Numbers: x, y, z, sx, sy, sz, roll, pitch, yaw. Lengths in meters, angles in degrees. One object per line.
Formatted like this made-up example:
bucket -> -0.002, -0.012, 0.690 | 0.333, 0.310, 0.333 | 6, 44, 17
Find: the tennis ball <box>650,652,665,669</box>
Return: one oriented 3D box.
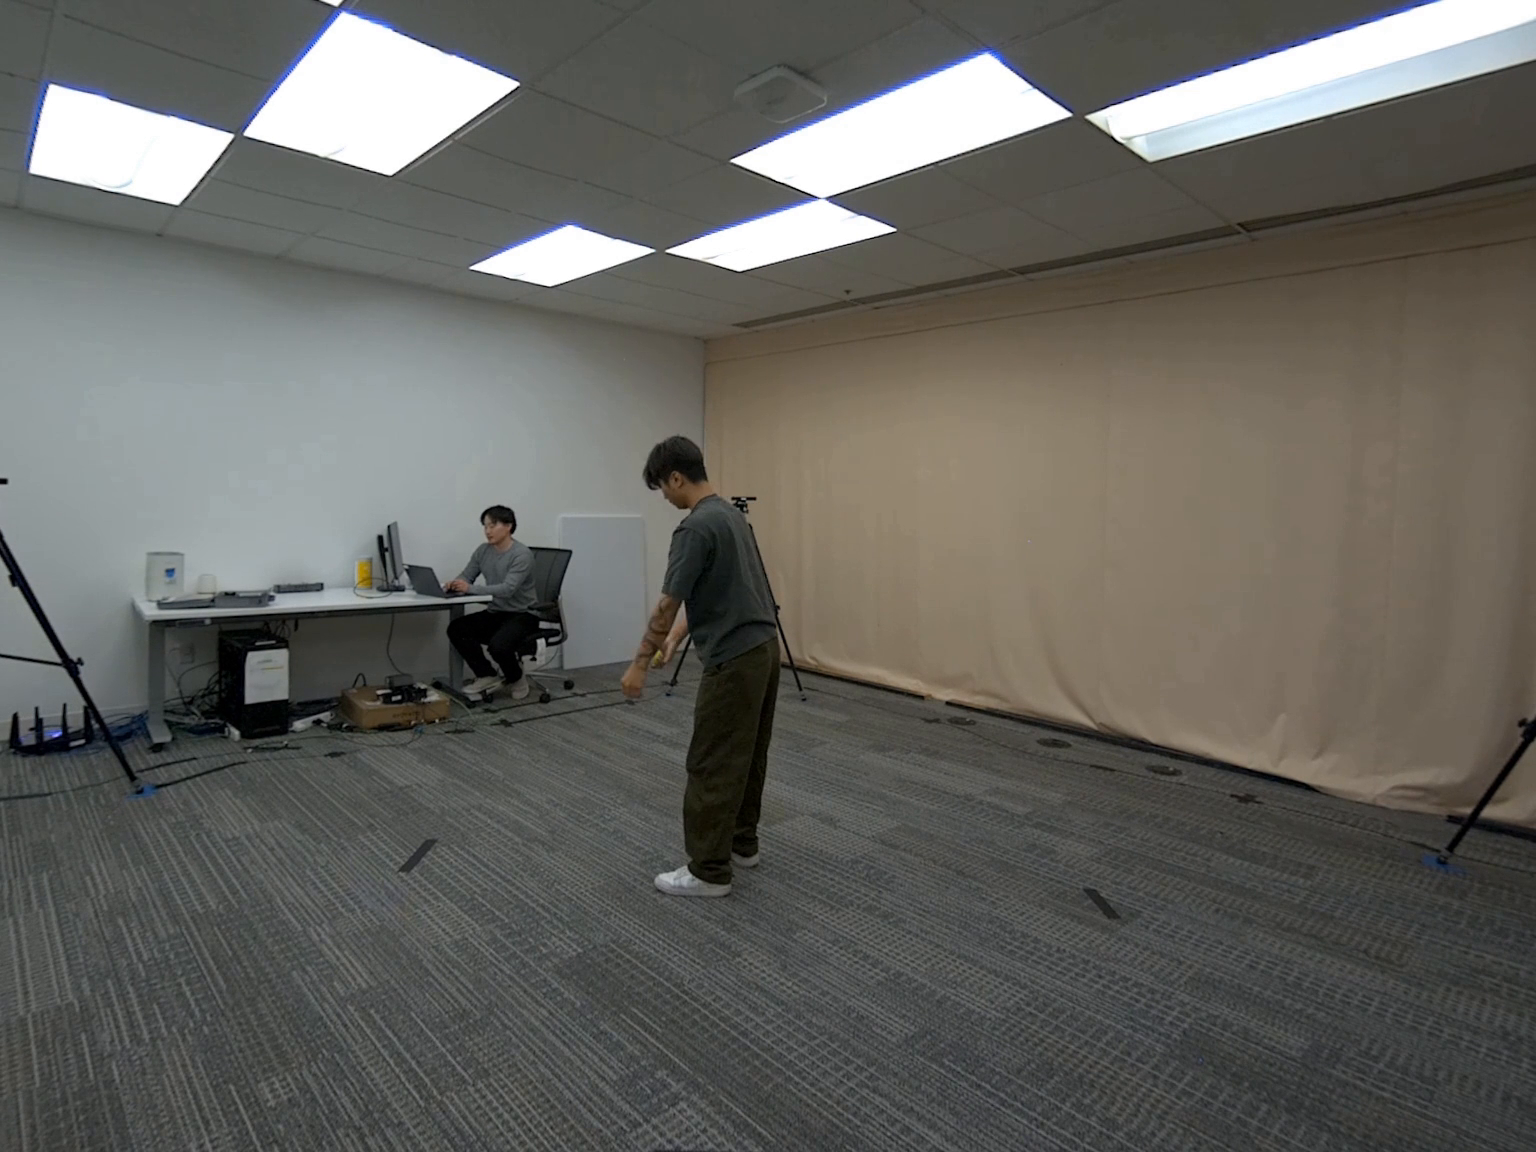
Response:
tennis ball -> -0.448, 0.302, 3.343 | 0.066, 0.066, 0.067 | 1, 4, -1
